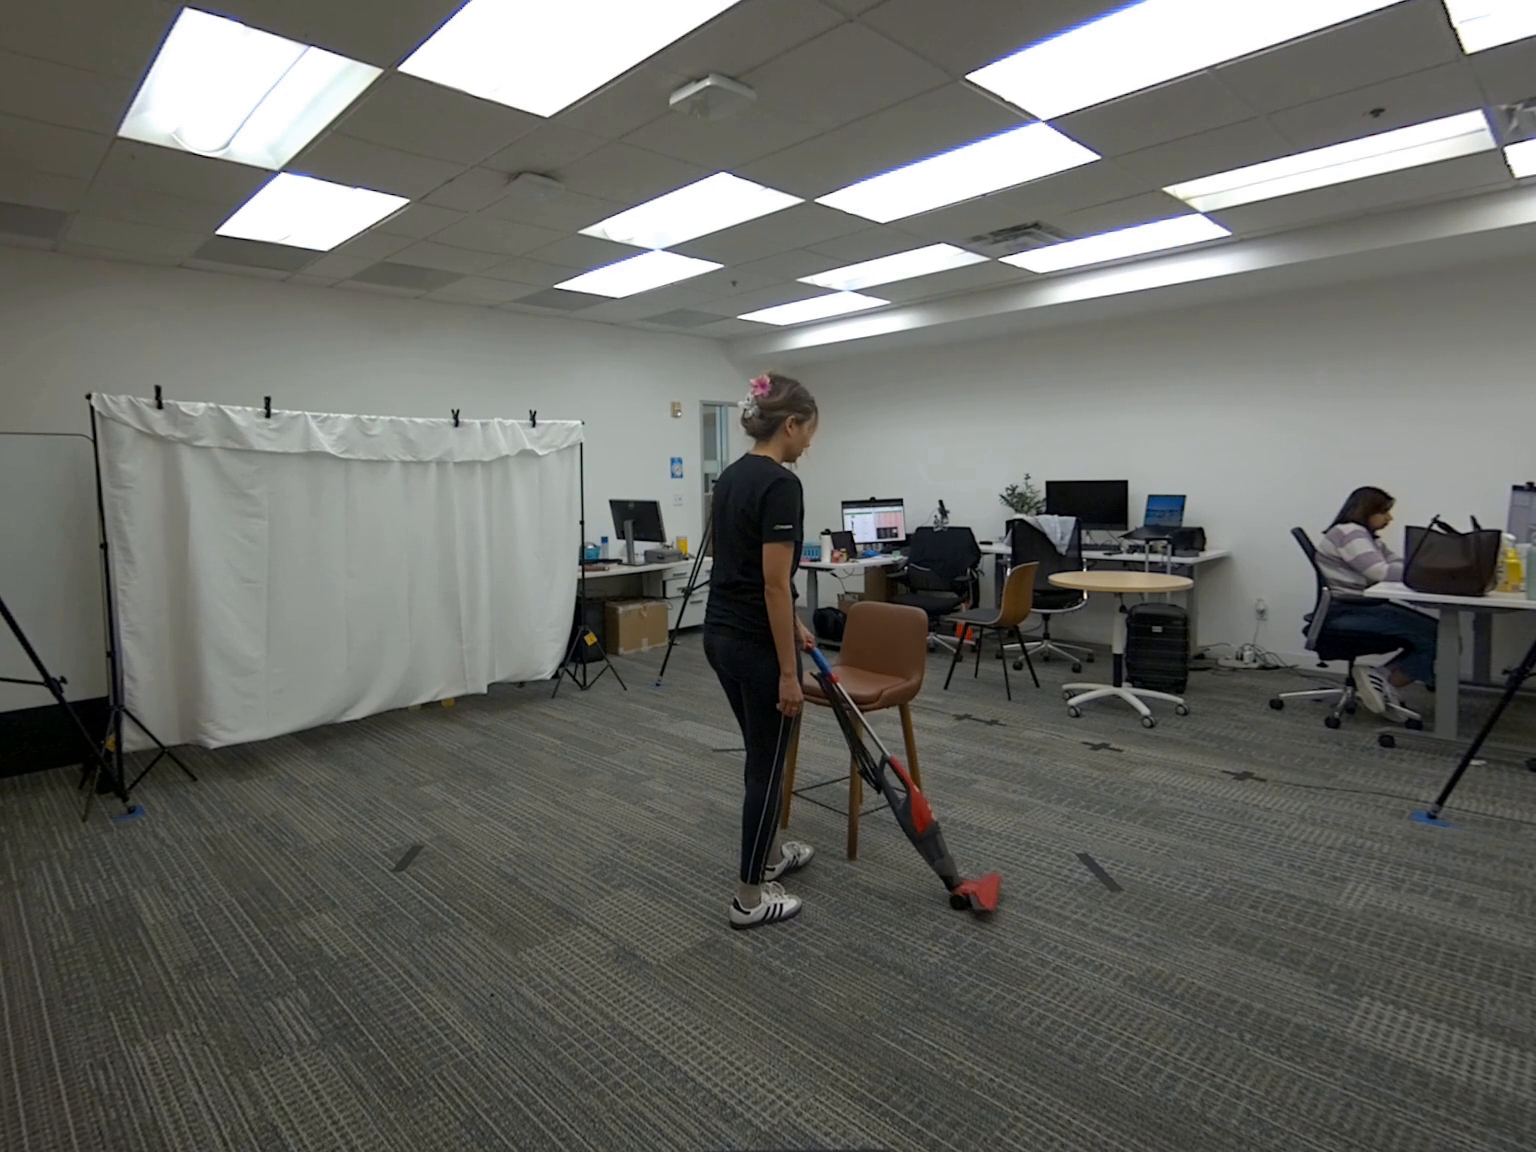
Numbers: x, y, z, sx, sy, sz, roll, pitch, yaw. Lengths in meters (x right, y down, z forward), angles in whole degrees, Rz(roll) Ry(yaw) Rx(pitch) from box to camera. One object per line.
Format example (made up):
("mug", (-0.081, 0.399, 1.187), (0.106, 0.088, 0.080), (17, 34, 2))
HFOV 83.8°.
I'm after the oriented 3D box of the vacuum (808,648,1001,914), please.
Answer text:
("vacuum", (0.370, 0.630, 2.894), (0.144, 1.067, 0.248), (-40, -13, 19))
